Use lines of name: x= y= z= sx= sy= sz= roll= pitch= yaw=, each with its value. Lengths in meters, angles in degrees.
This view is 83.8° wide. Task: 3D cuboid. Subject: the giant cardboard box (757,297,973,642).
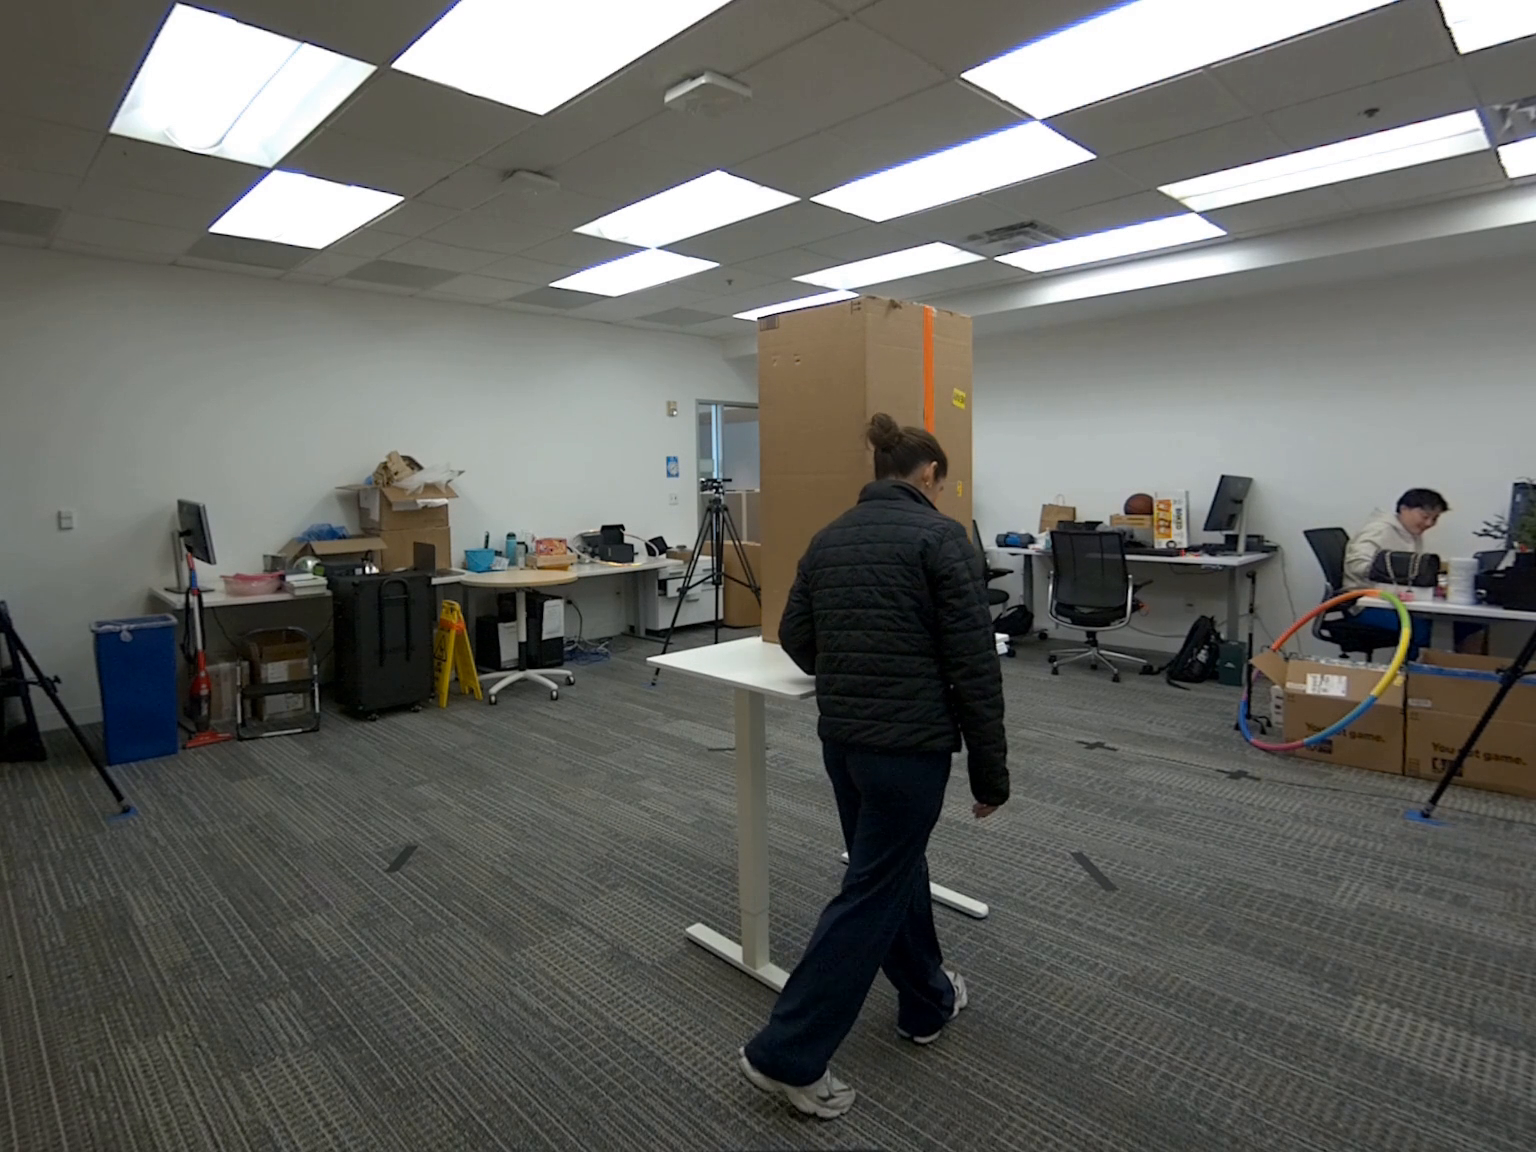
giant cardboard box: x=0.320 y=-0.311 z=2.737 sx=0.439 sy=1.022 sz=0.562 roll=3 pitch=6 yaw=44
